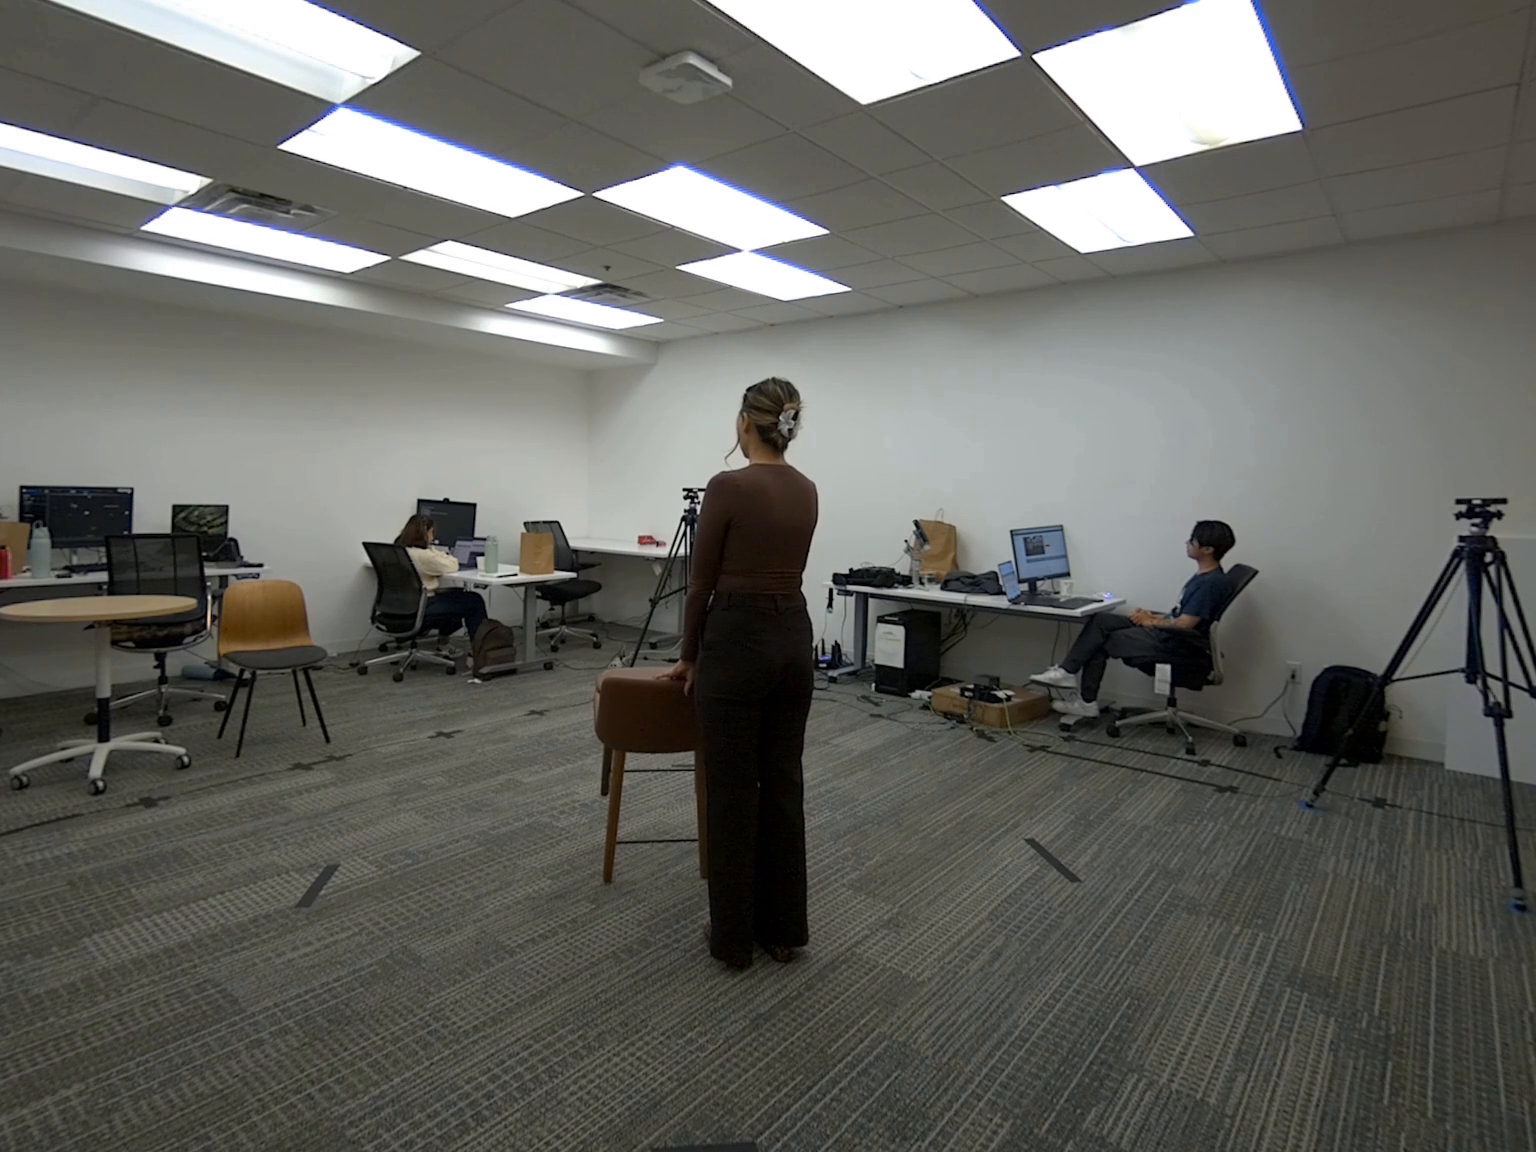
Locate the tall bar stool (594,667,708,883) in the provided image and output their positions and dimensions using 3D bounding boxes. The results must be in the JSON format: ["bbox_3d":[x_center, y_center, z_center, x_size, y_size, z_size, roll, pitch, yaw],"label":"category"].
[{"bbox_3d":[-0.405,0.593,3.016,0.453,0.871,0.482,1,28,-8],"label":"tall bar stool"}]
